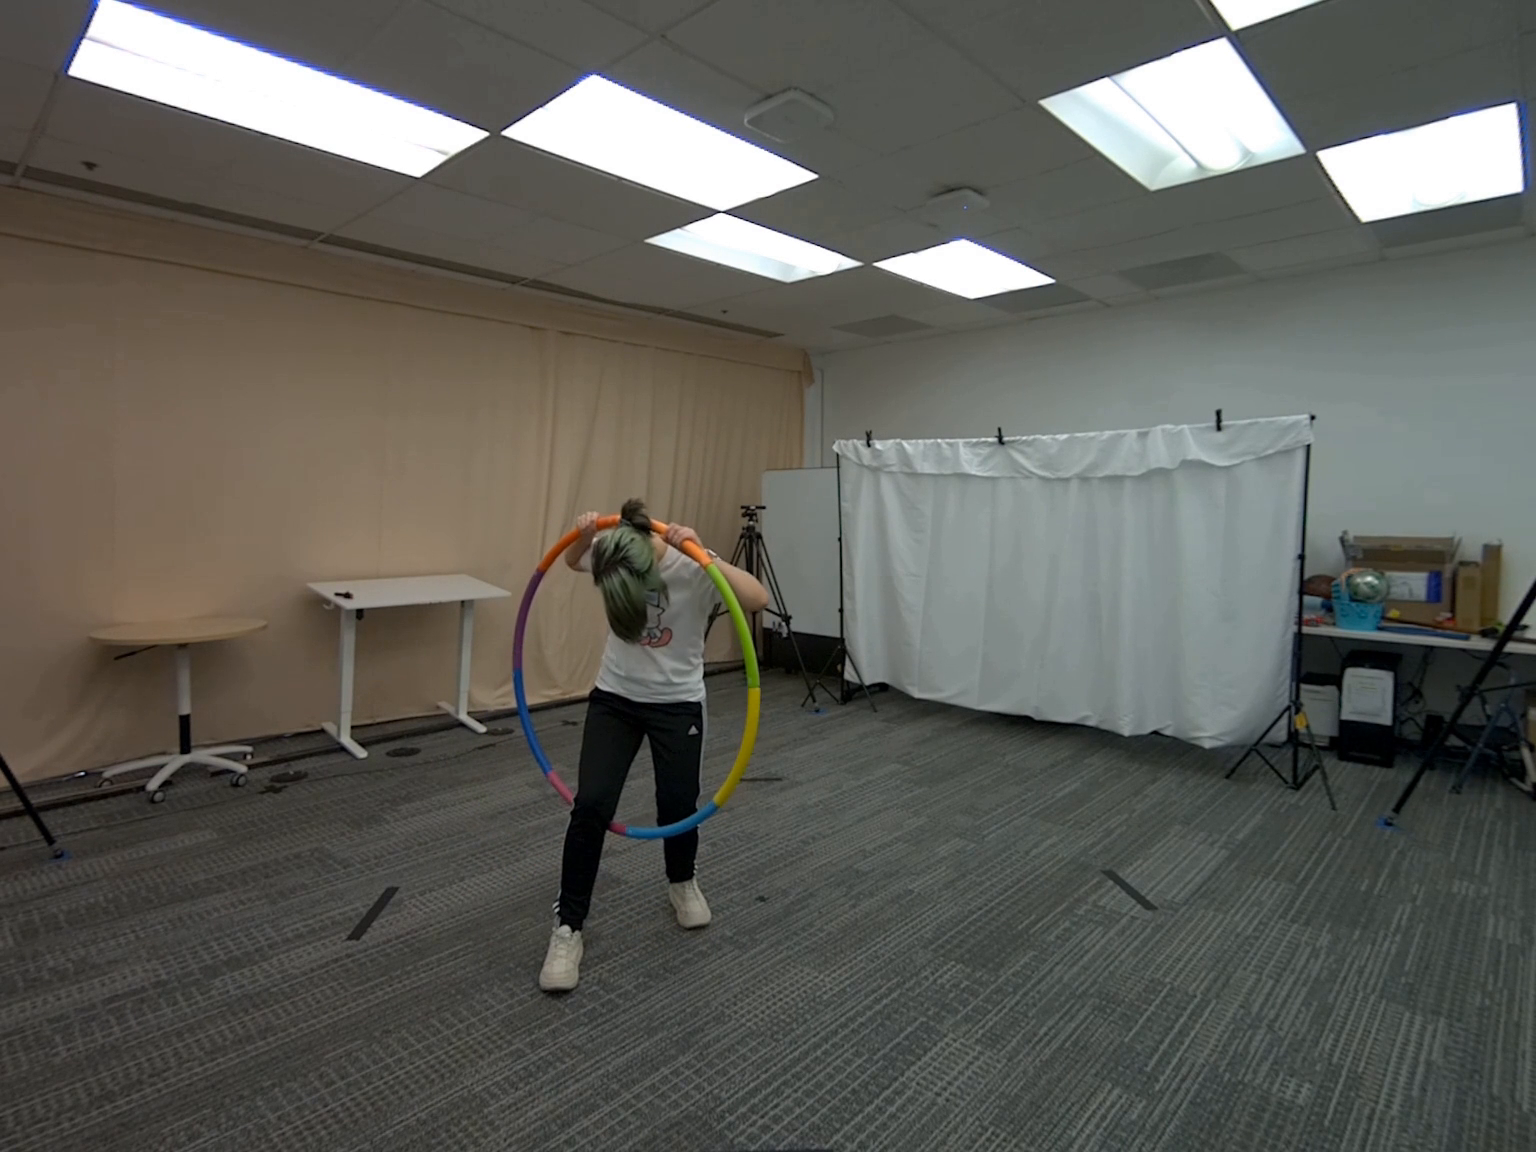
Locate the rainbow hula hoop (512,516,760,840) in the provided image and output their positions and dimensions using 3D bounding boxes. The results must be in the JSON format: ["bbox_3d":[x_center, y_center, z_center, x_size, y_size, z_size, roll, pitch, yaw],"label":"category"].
[{"bbox_3d":[-0.436,0.309,2.619,1.008,0.977,0.034,2,2,33],"label":"rainbow hula hoop"}]
